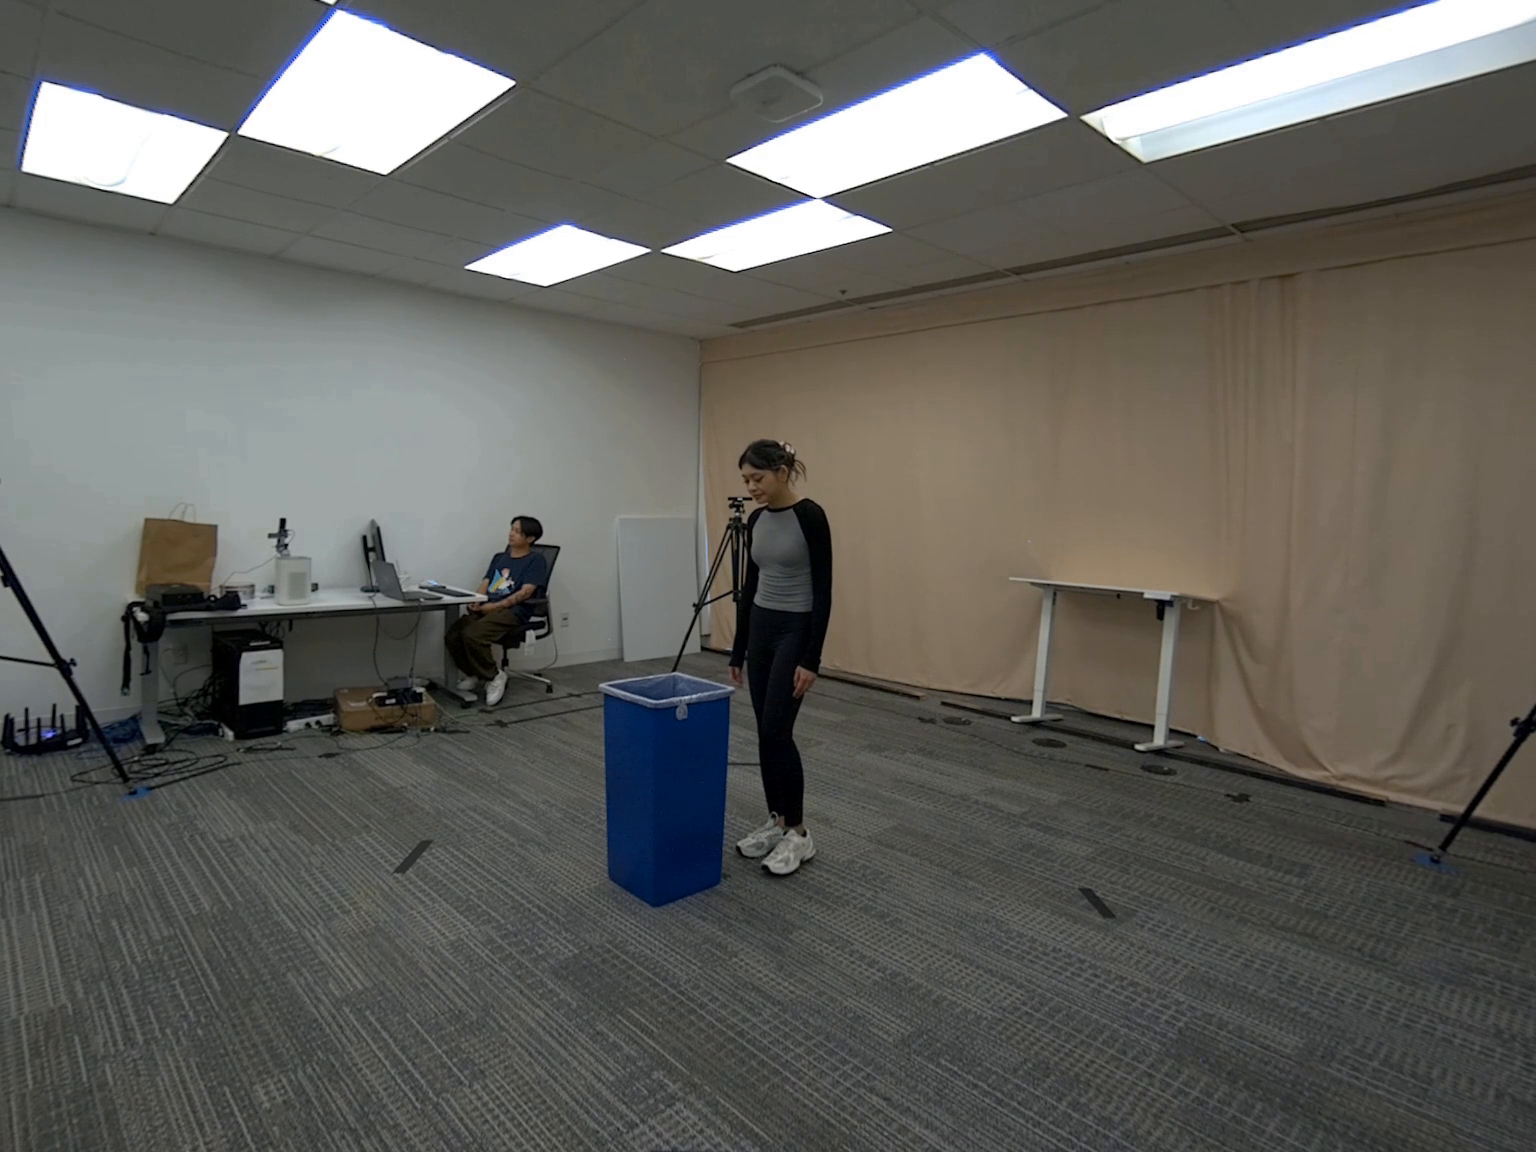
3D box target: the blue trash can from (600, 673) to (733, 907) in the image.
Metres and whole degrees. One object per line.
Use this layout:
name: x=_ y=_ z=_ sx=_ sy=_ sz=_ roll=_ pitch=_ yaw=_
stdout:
blue trash can: x=-0.384 y=0.750 z=3.039 sx=0.369 sy=0.712 sz=0.384 roll=-1 pitch=5 yaw=-43
